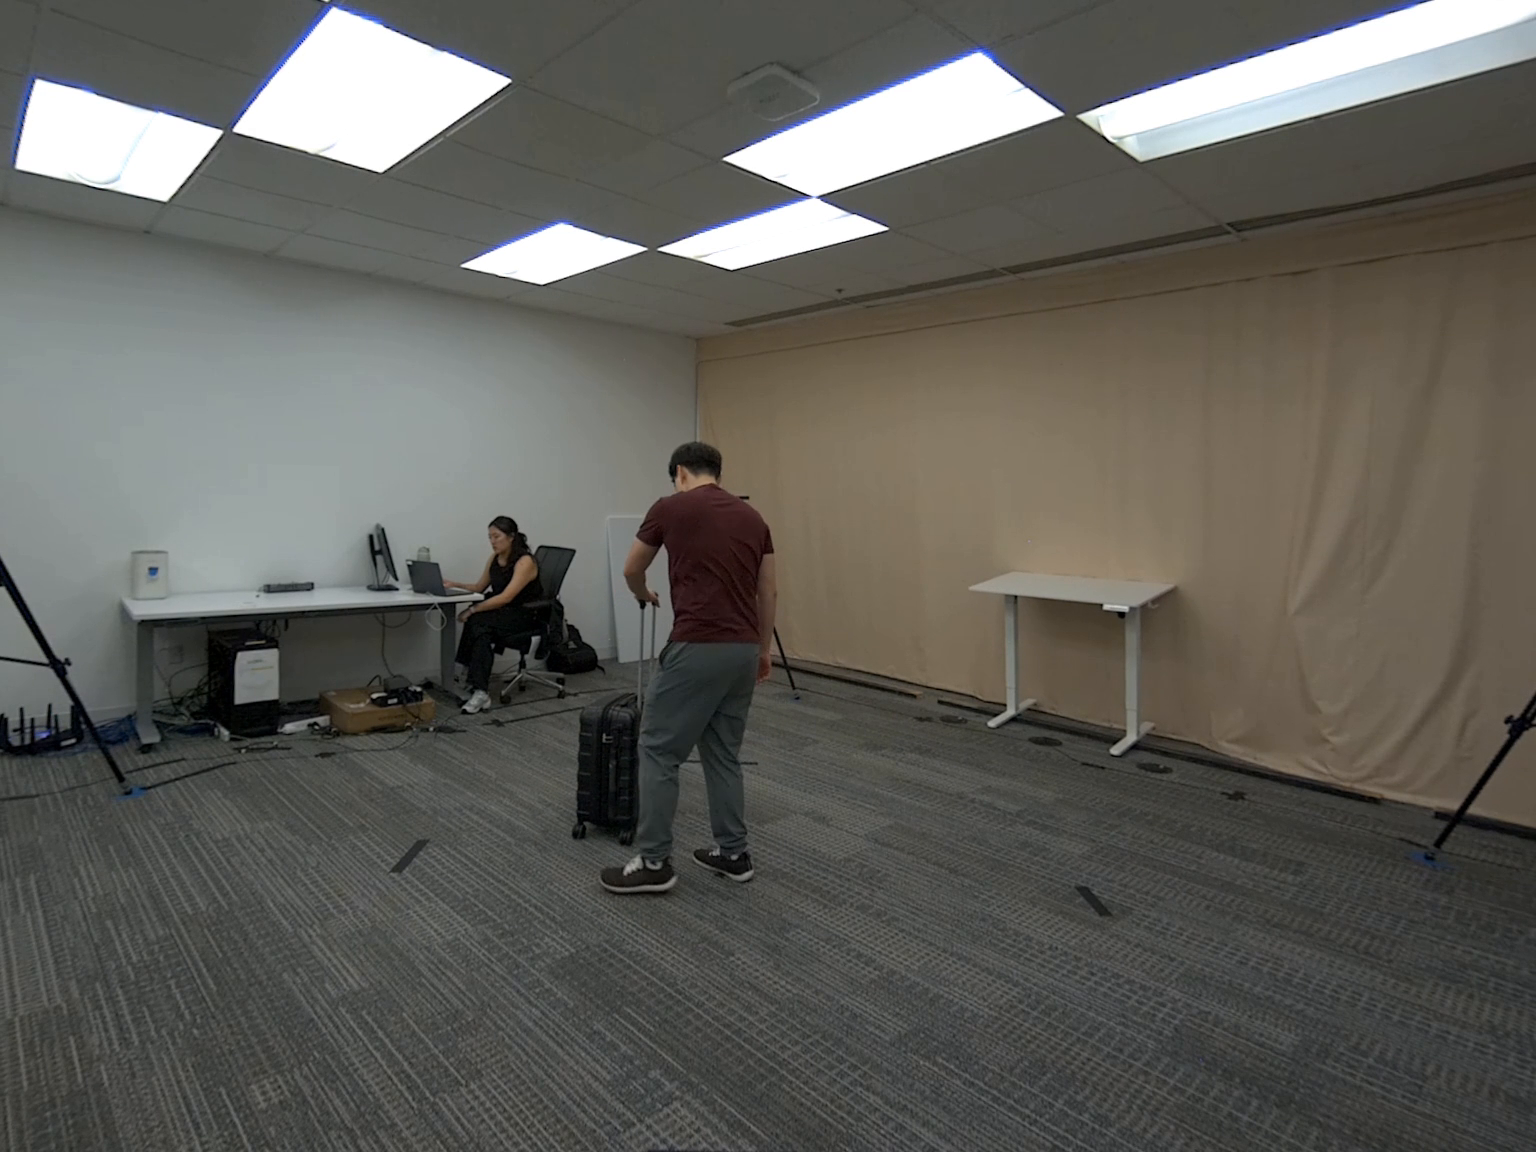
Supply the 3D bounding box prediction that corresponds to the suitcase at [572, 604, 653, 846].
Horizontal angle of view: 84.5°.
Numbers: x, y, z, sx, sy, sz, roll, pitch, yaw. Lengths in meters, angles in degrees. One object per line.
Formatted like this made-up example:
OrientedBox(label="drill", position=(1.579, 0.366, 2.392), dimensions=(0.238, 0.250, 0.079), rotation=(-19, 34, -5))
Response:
OrientedBox(label="suitcase", position=(-0.631, 0.574, 3.531), dimensions=(0.260, 0.977, 0.380), rotation=(1, 2, 13))
